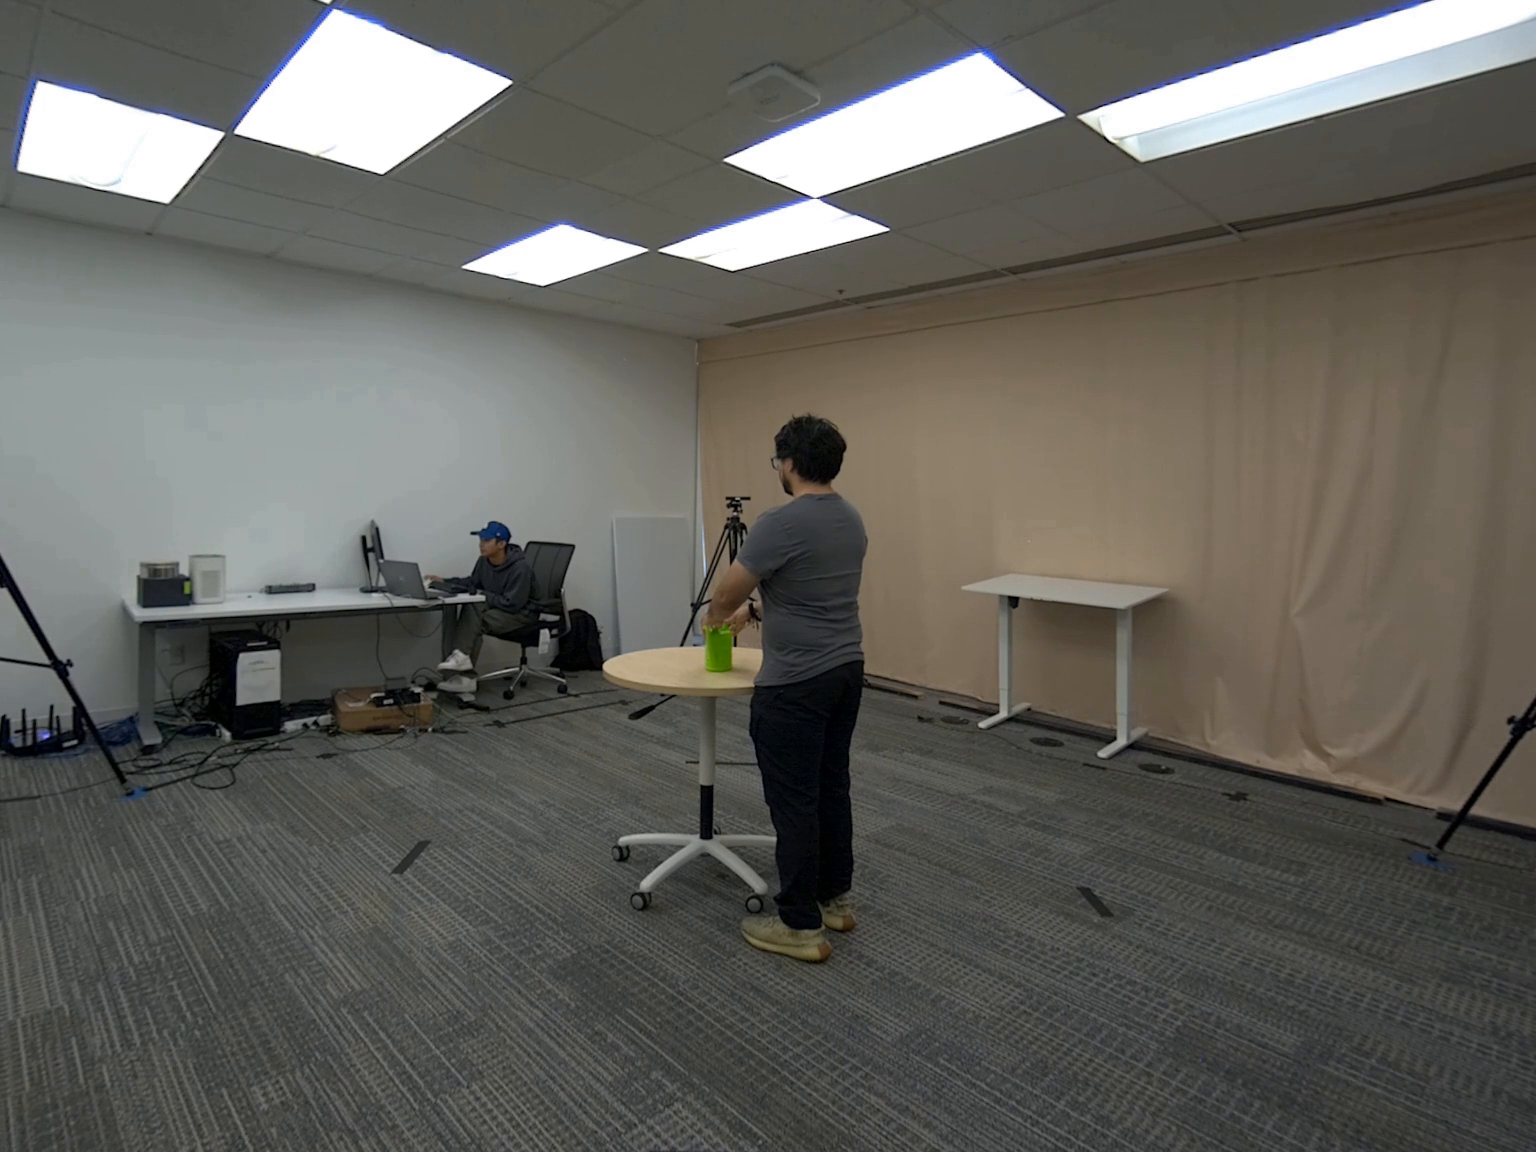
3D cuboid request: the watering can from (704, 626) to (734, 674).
[{"bbox_3d":[-0.195,0.253,2.957,0.100,0.176,0.274,4,3,22],"label":"watering can"}]
